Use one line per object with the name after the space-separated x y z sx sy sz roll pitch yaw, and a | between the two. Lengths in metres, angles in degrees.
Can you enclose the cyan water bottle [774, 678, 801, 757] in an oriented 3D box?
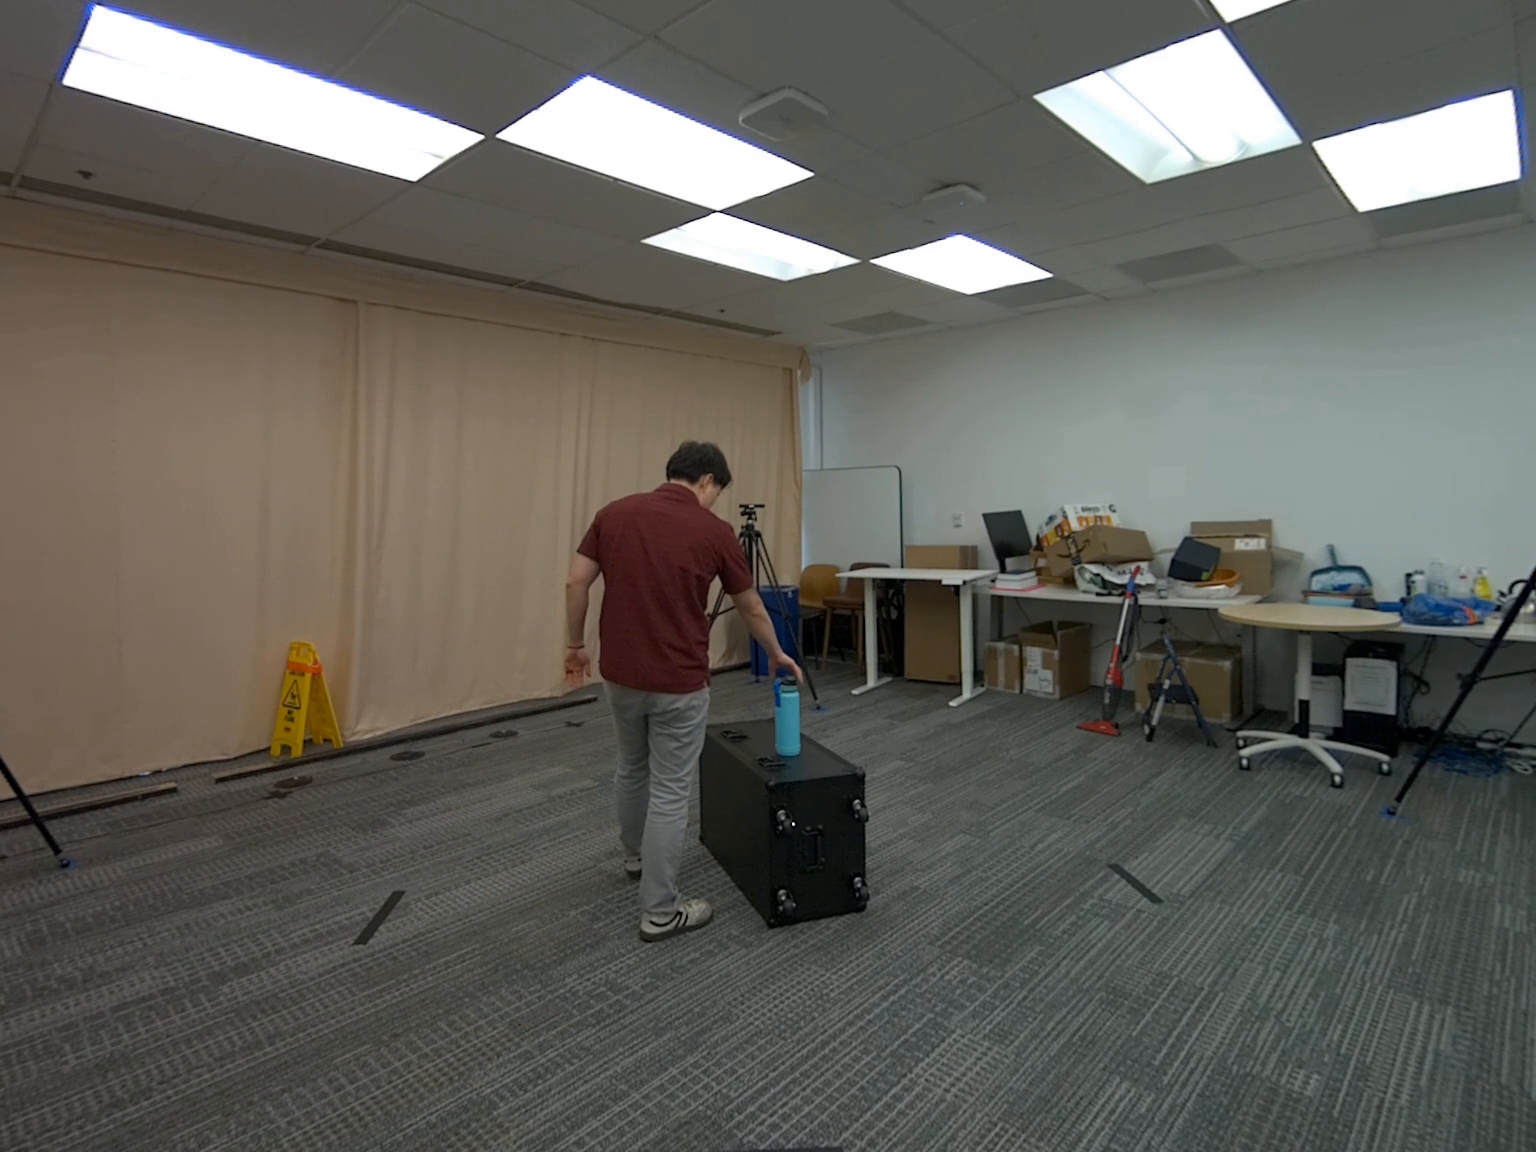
0.074 0.508 3.074 0.092 0.282 0.093 -1 4 -2 | cyan water bottle
